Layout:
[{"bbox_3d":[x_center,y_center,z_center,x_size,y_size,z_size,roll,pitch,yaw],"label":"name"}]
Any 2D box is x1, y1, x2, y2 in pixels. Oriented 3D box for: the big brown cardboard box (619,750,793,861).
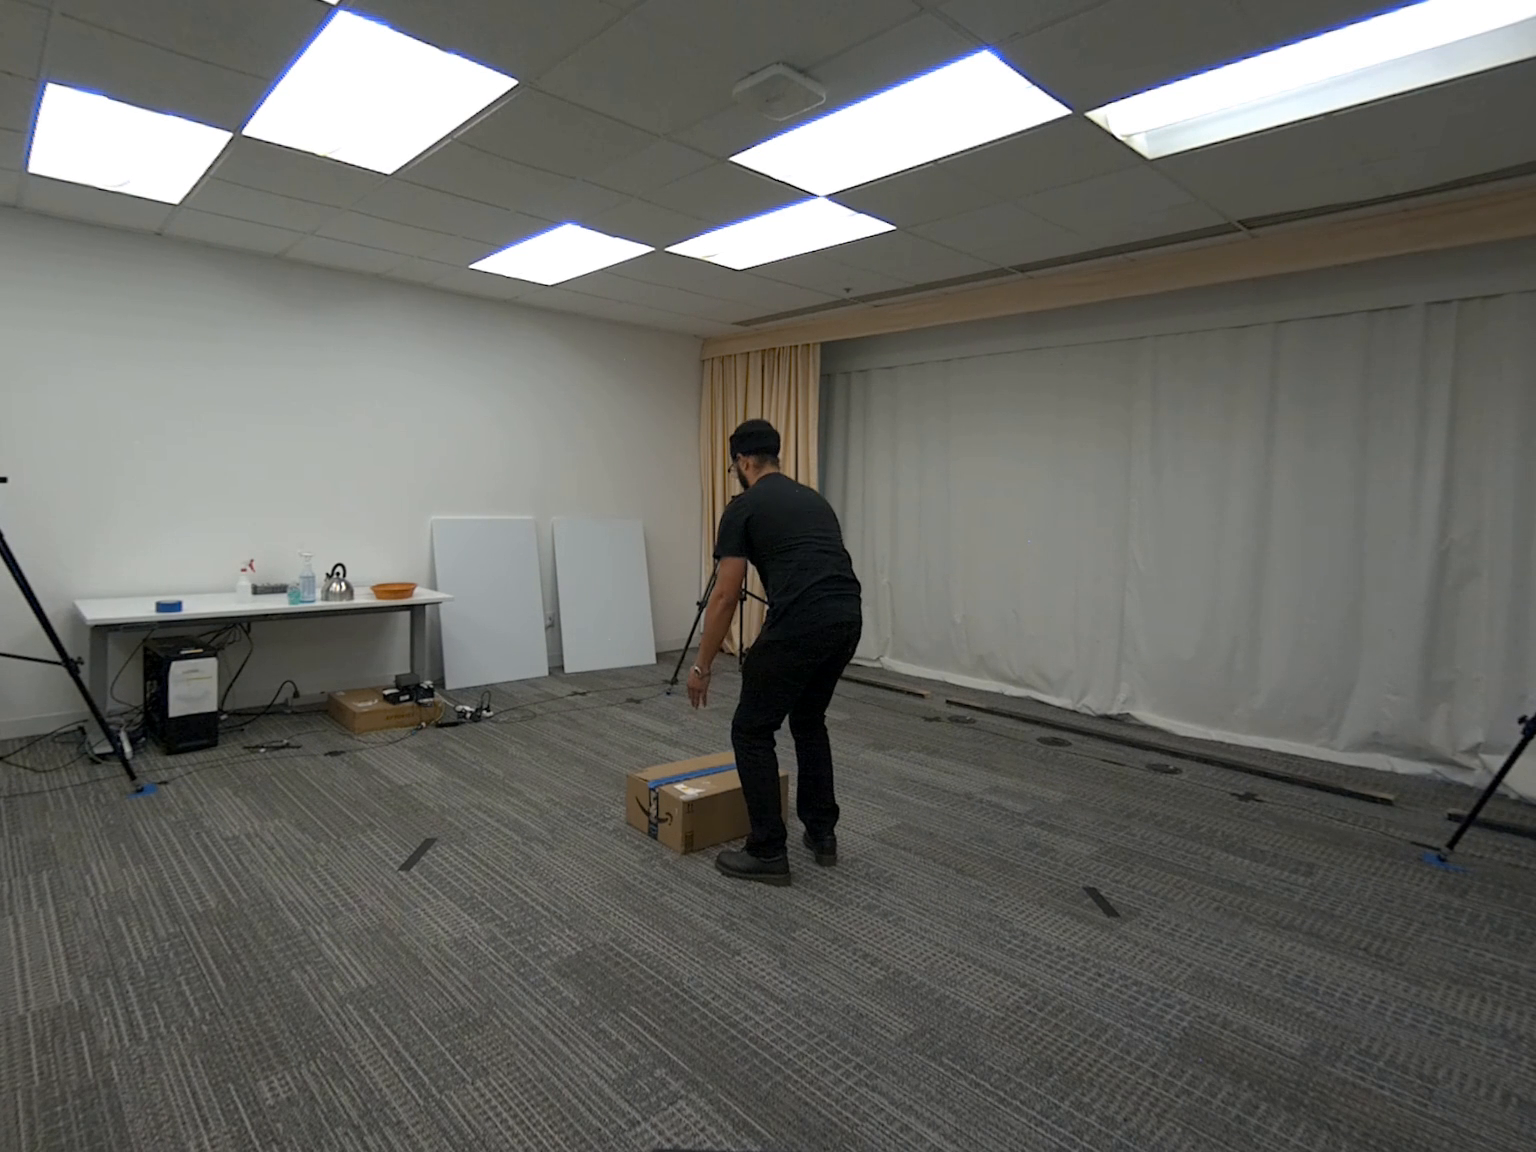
[{"bbox_3d":[-0.262,0.947,3.583,0.575,0.233,0.428,-1,5,-41],"label":"big brown cardboard box"}]
